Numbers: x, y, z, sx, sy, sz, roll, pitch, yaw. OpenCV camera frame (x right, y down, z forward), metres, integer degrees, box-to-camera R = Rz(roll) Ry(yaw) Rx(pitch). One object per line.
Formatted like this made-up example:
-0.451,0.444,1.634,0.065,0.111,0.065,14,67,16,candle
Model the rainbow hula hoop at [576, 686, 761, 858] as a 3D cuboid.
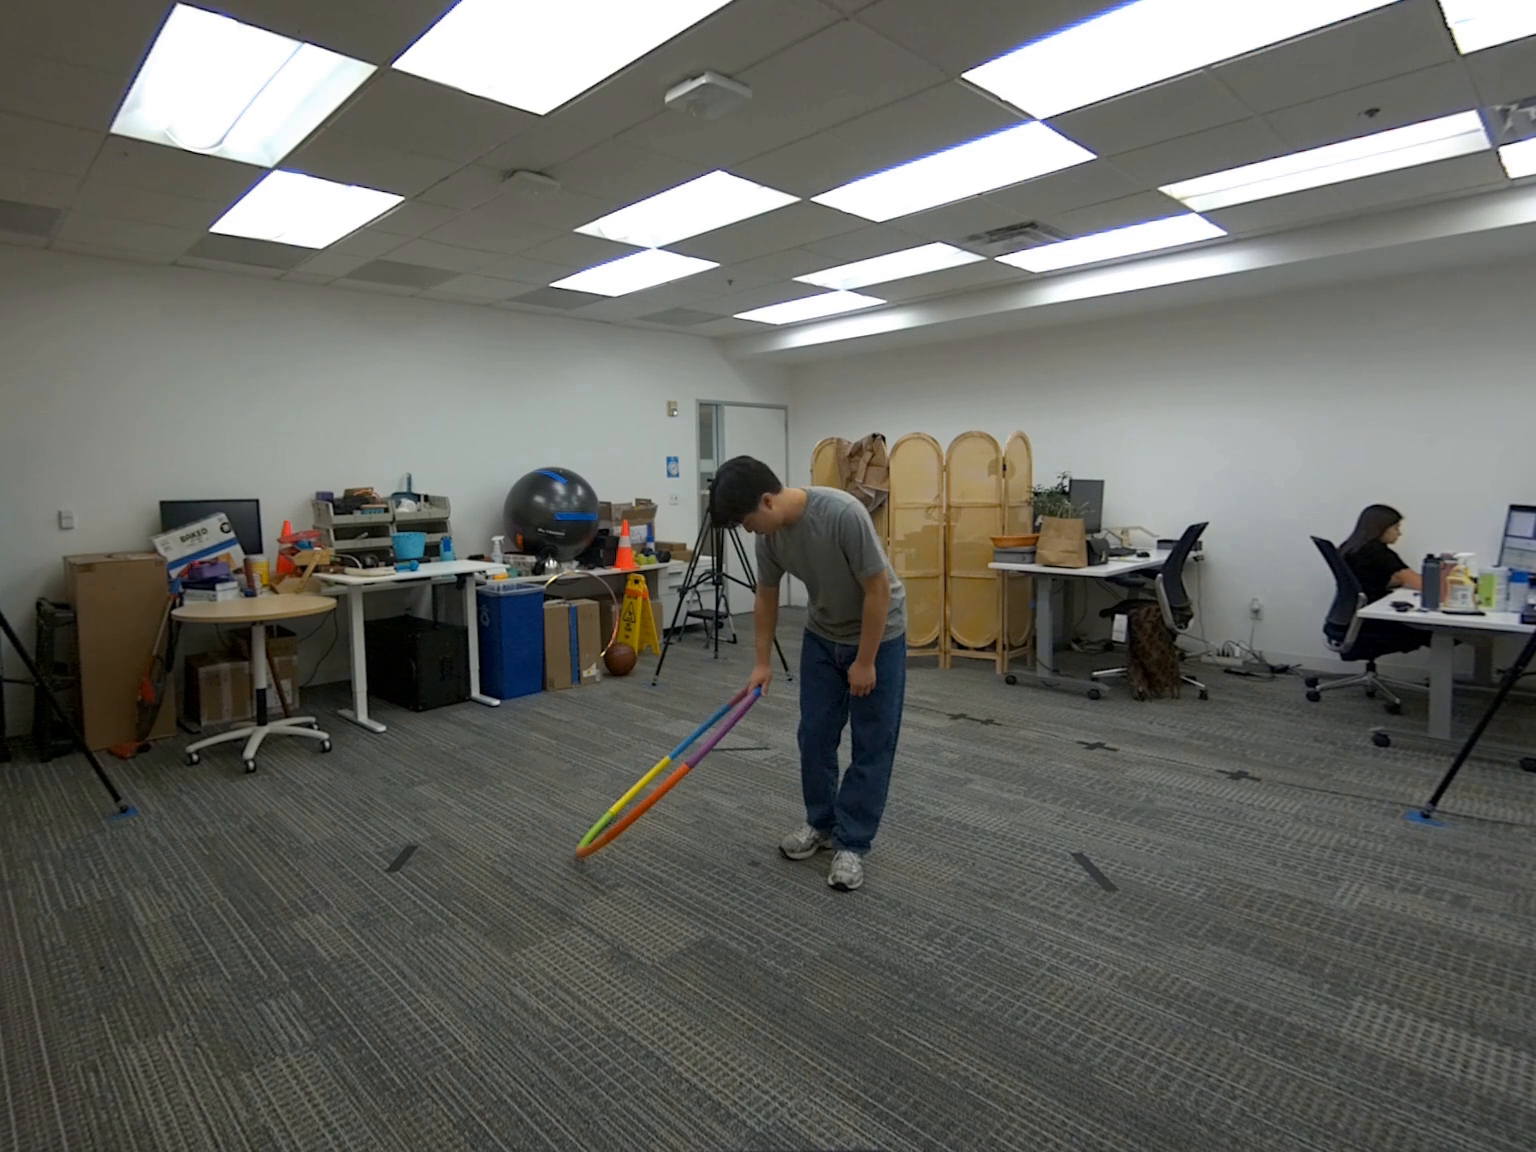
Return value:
-0.352,0.702,3.249,0.978,0.036,0.975,-42,-1,-5,rainbow hula hoop
